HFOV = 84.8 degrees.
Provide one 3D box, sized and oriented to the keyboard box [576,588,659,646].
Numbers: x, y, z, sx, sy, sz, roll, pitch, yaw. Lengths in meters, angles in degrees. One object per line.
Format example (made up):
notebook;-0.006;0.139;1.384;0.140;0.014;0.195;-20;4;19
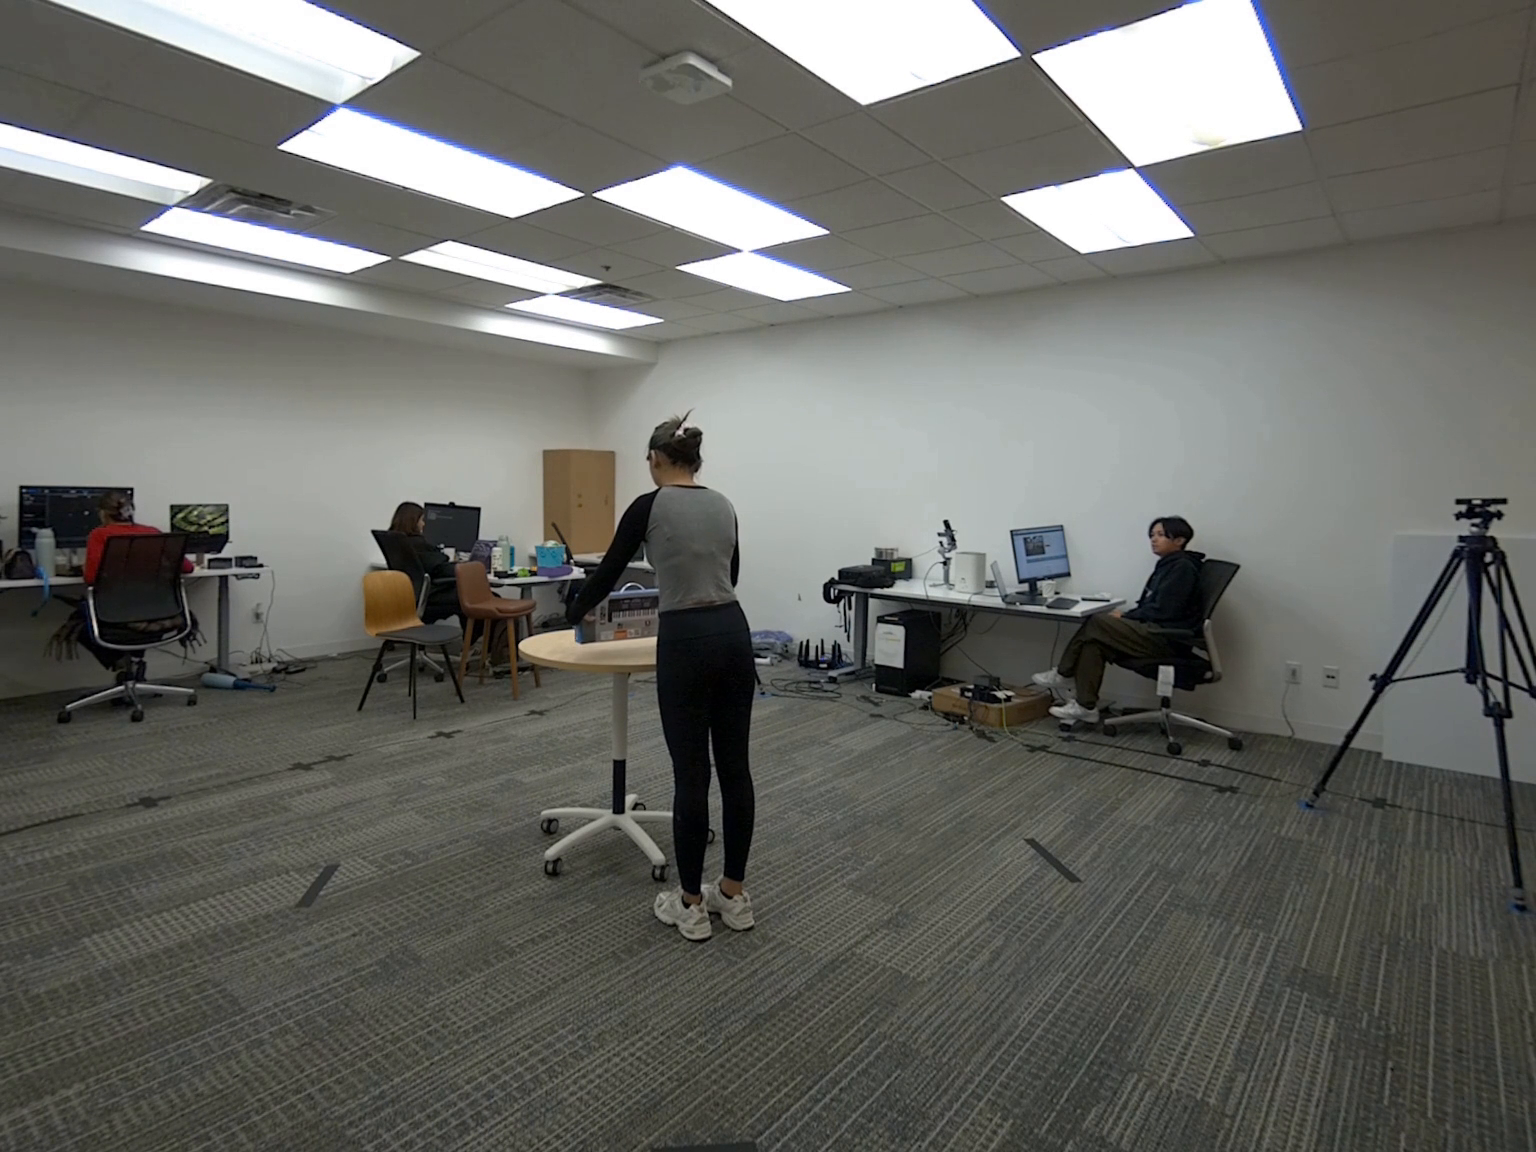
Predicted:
keyboard box;-0.505;0.143;3.148;0.424;0.175;0.061;-4;9;-36
